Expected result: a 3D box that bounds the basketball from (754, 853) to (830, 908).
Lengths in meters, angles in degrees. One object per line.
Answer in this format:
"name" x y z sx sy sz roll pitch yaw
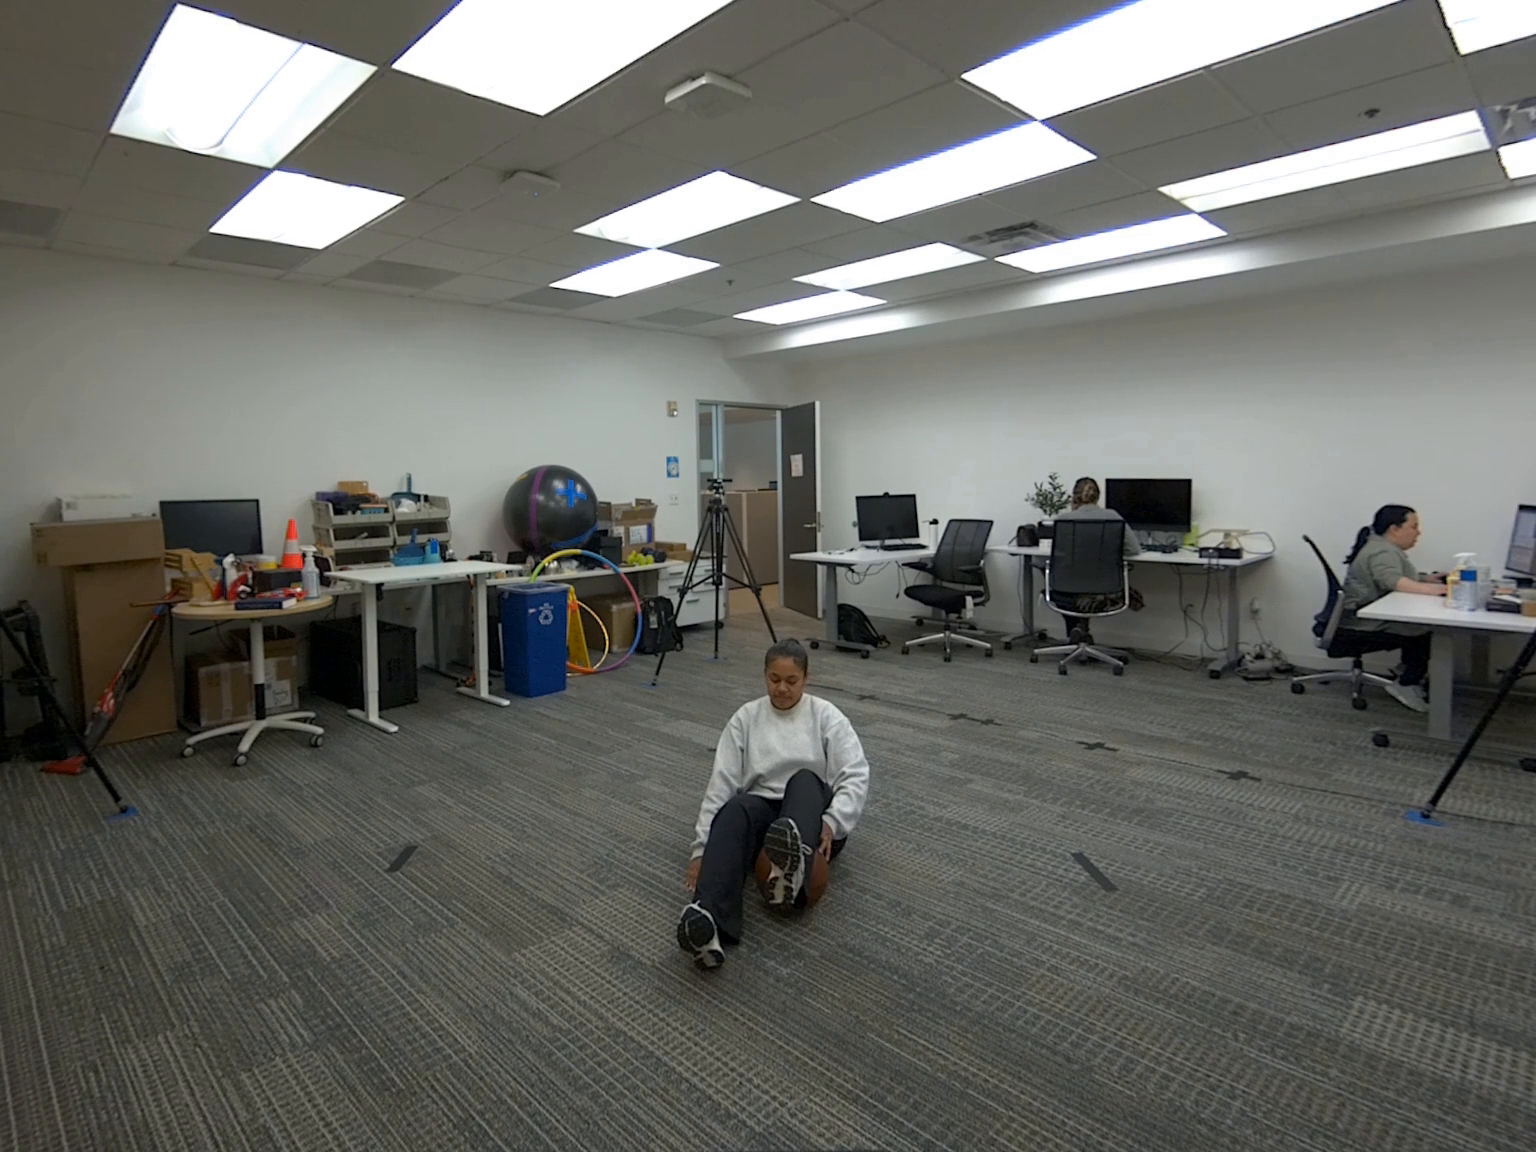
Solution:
"basketball" 0.073 0.953 2.768 0.236 0.235 0.237 -1 5 -2
